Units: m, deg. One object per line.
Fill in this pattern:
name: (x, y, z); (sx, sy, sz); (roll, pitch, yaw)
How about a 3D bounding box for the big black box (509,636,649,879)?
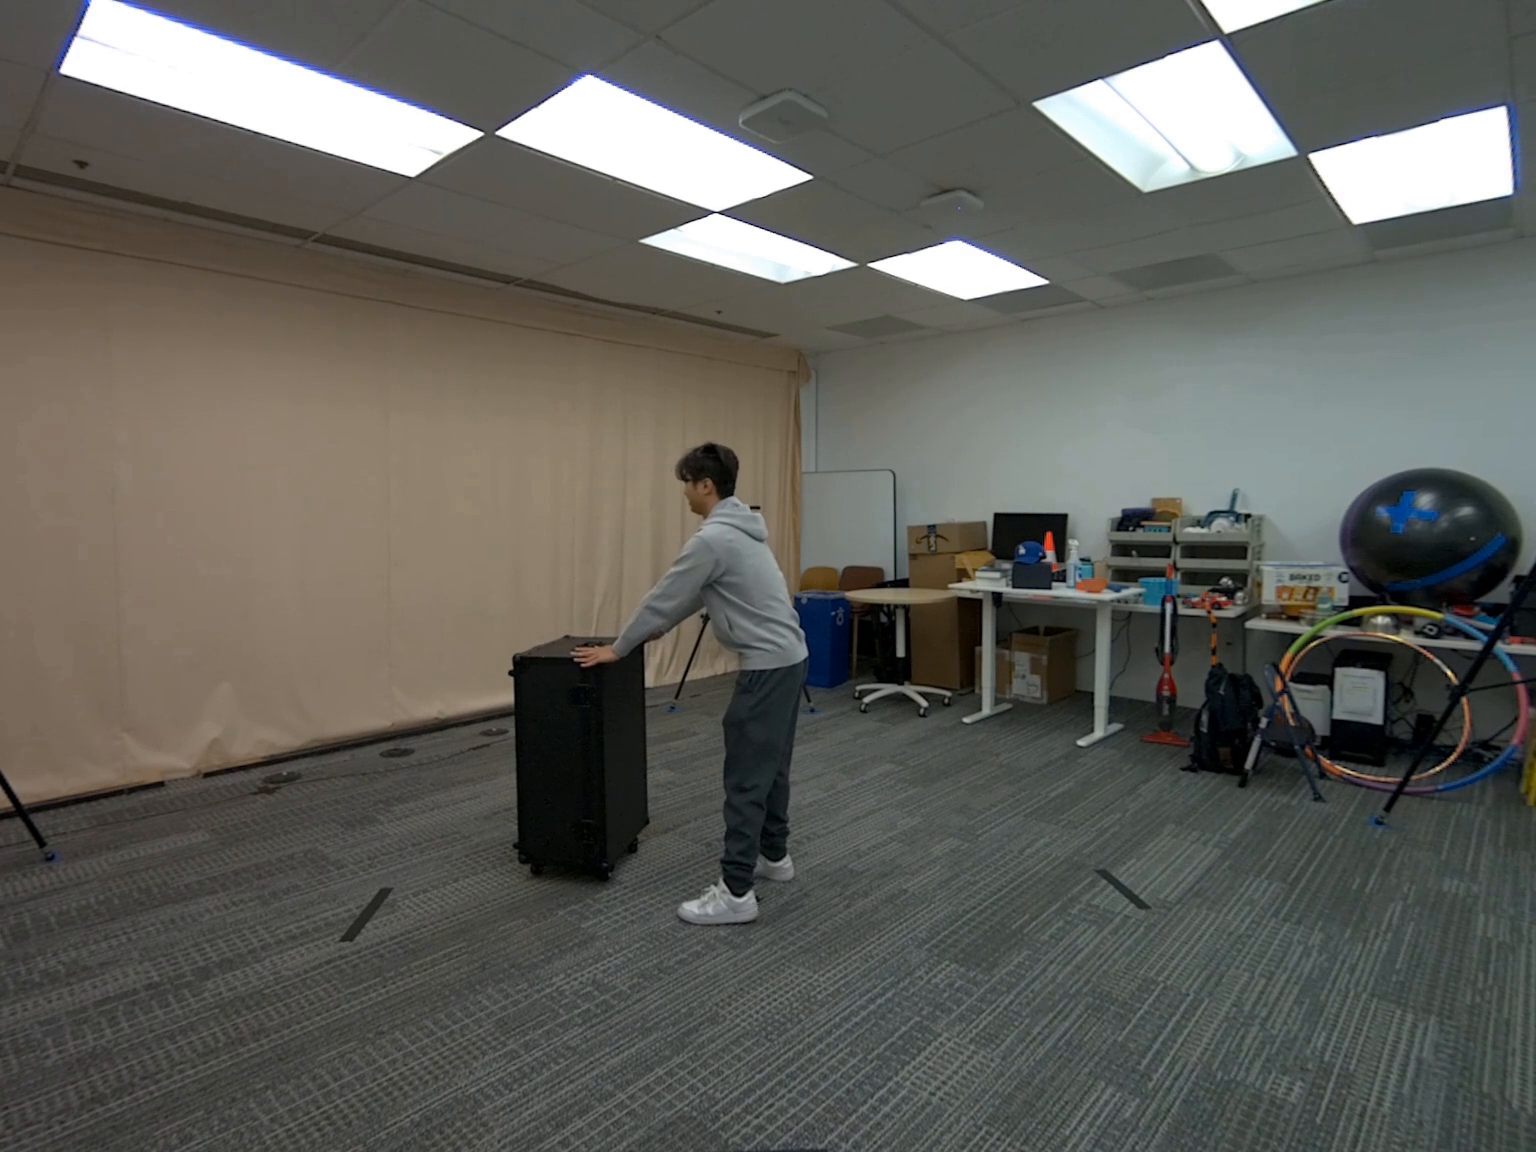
big black box: (-0.734, 0.703, 3.314); (0.402, 0.860, 0.514); (0, 3, 13)
